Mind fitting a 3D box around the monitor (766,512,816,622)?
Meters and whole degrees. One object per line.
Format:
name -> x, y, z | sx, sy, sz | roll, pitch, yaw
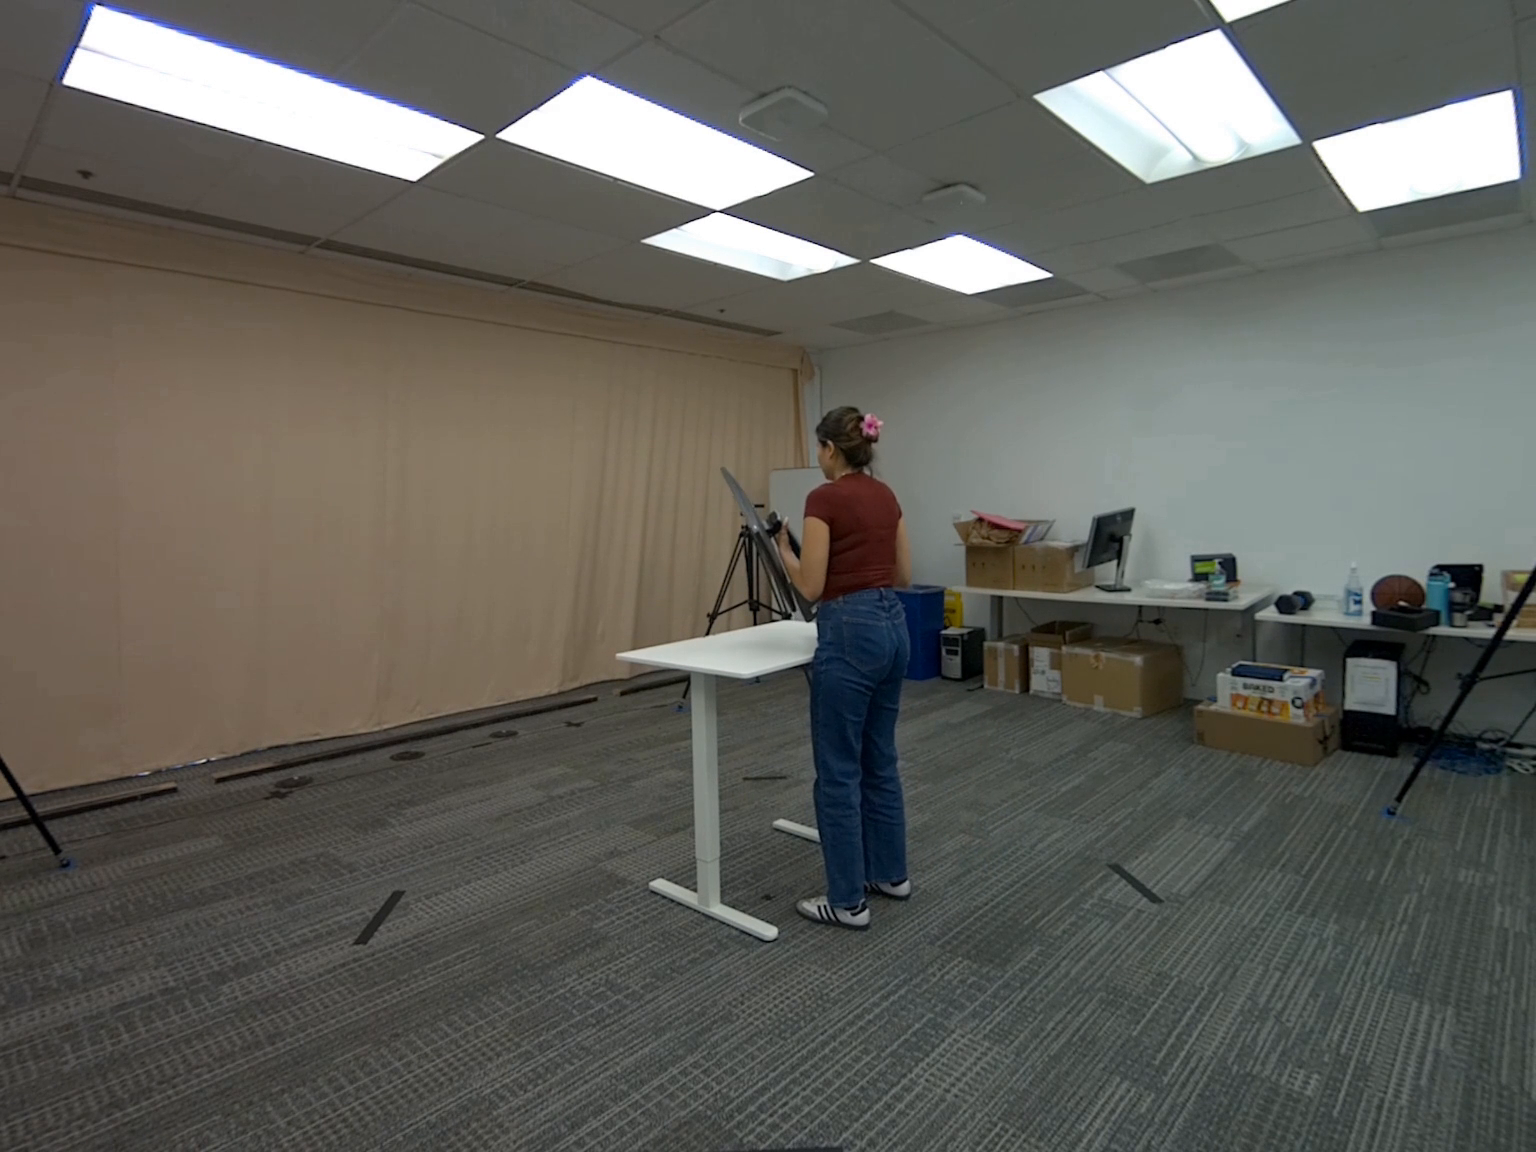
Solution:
monitor -> 0.036, -0.103, 3.029 | 0.187, 0.507, 0.554 | -39, 31, 6
